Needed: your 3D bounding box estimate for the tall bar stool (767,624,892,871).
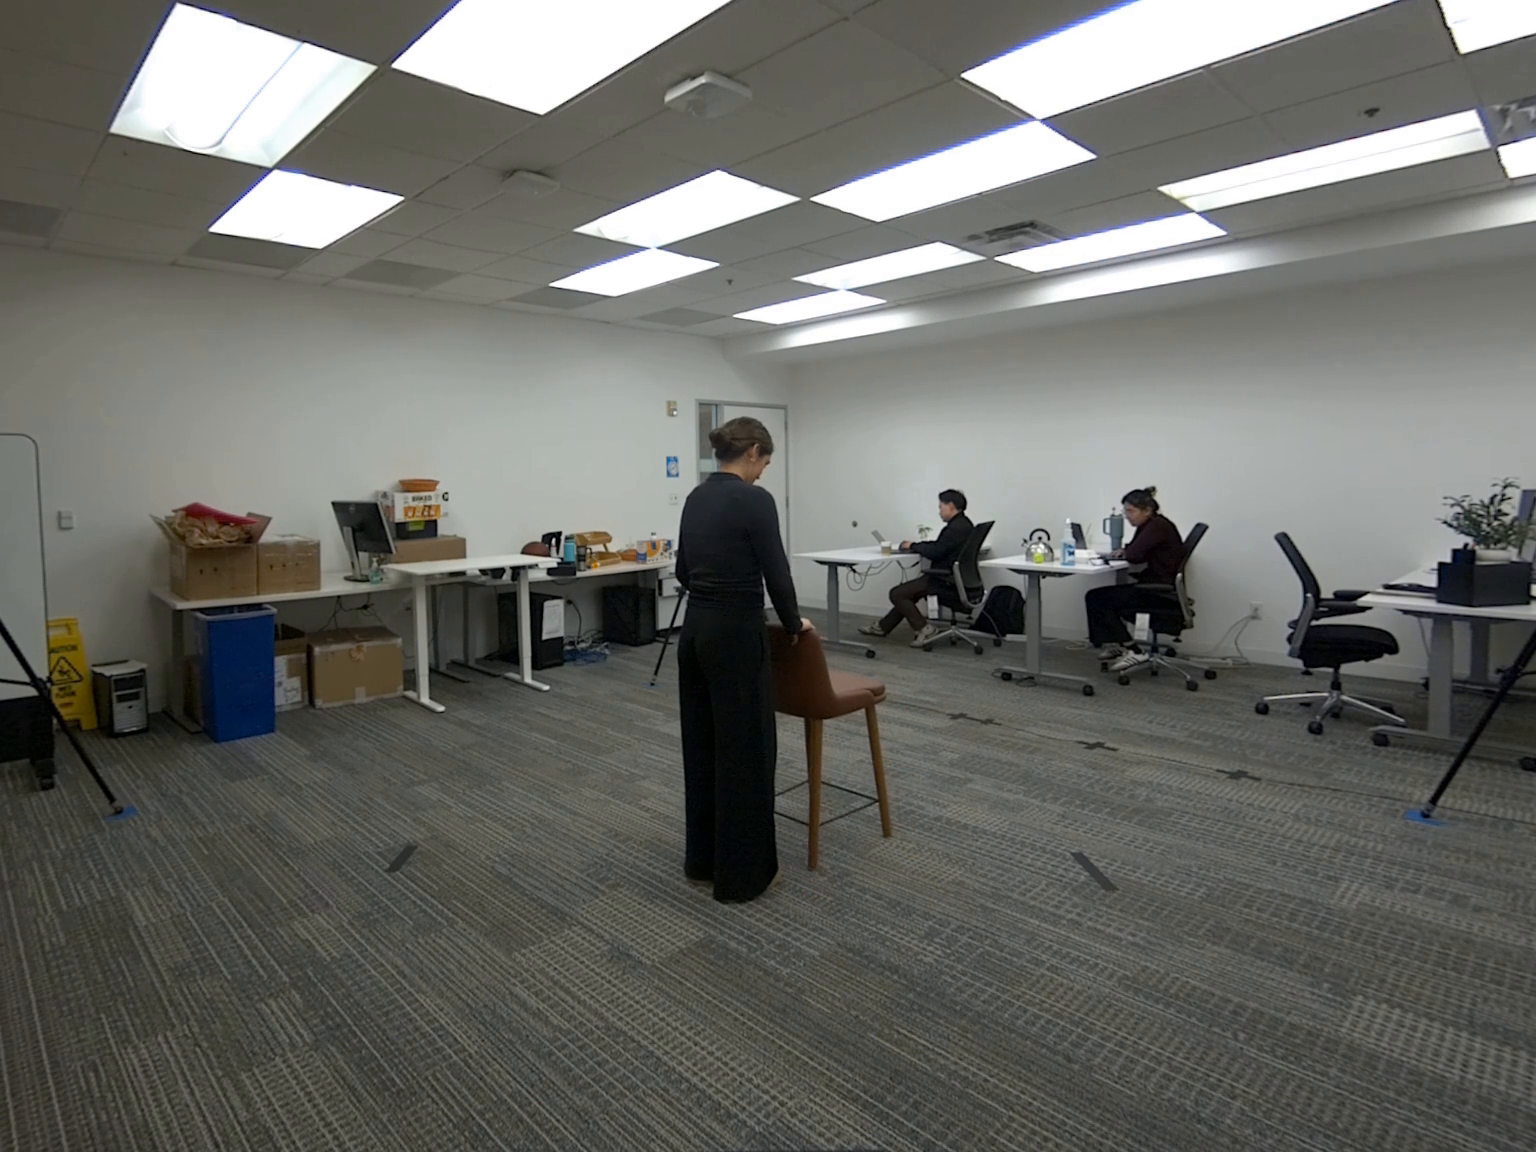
[{"bbox_3d":[0.171,0.582,3.285,0.456,0.885,0.470,-7,7,-43],"label":"tall bar stool"}]
